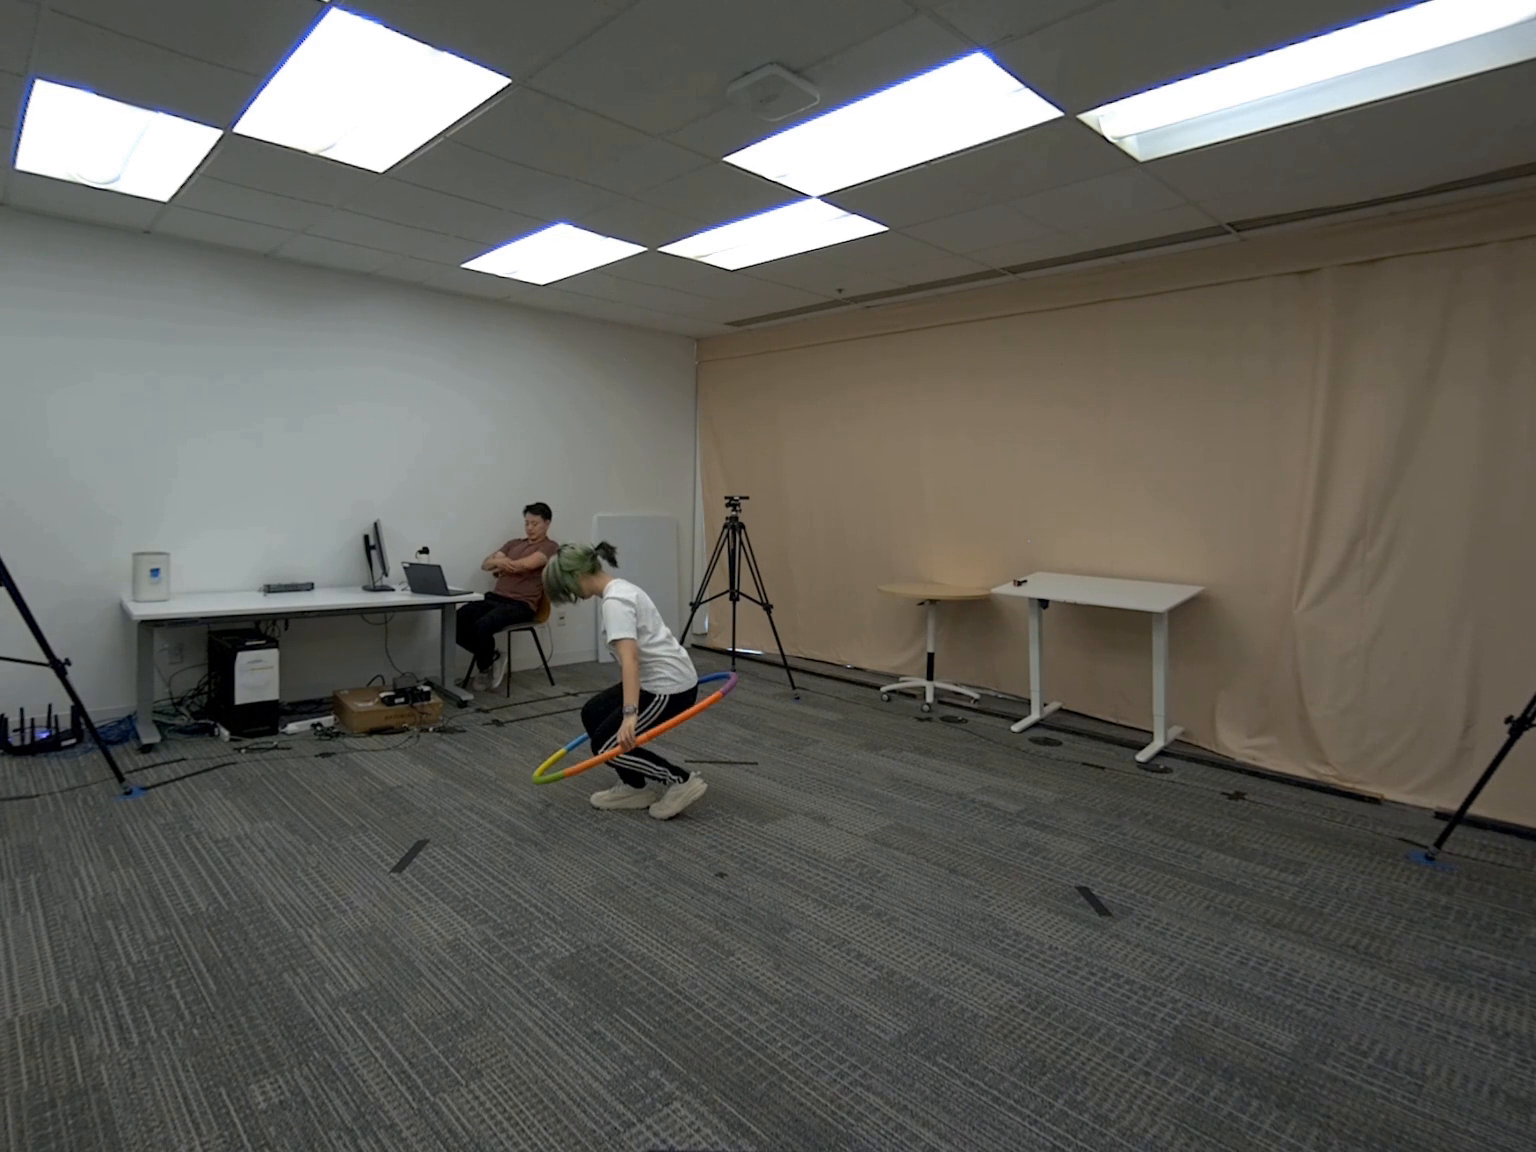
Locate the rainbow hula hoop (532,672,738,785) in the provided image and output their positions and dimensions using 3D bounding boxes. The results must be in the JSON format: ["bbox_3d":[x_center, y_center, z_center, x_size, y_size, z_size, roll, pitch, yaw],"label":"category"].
[{"bbox_3d":[-0.598,0.646,3.699,0.985,0.051,0.986,-27,2,-1],"label":"rainbow hula hoop"}]
